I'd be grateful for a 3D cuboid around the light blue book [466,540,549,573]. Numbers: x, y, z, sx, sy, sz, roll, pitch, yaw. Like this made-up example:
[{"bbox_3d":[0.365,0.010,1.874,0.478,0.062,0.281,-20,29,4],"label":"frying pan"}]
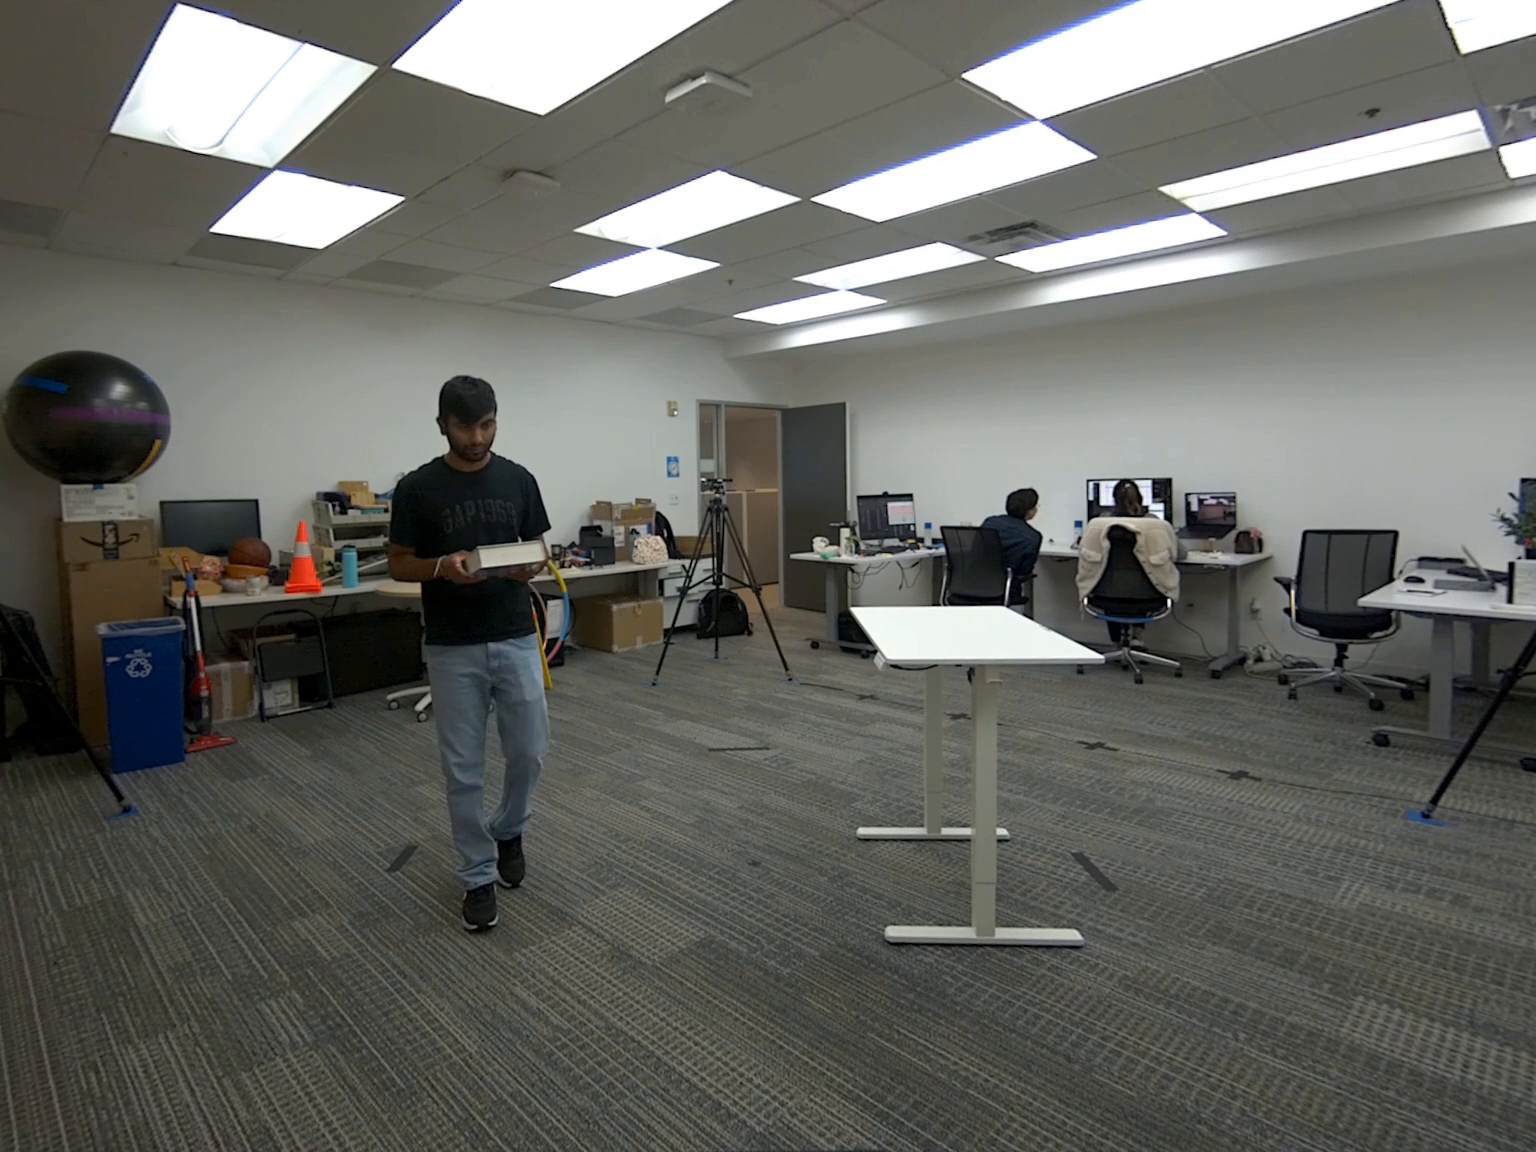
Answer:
[{"bbox_3d":[-0.792,-0.043,2.540,0.187,0.059,0.265,-9,-3,-30],"label":"light blue book"}]
